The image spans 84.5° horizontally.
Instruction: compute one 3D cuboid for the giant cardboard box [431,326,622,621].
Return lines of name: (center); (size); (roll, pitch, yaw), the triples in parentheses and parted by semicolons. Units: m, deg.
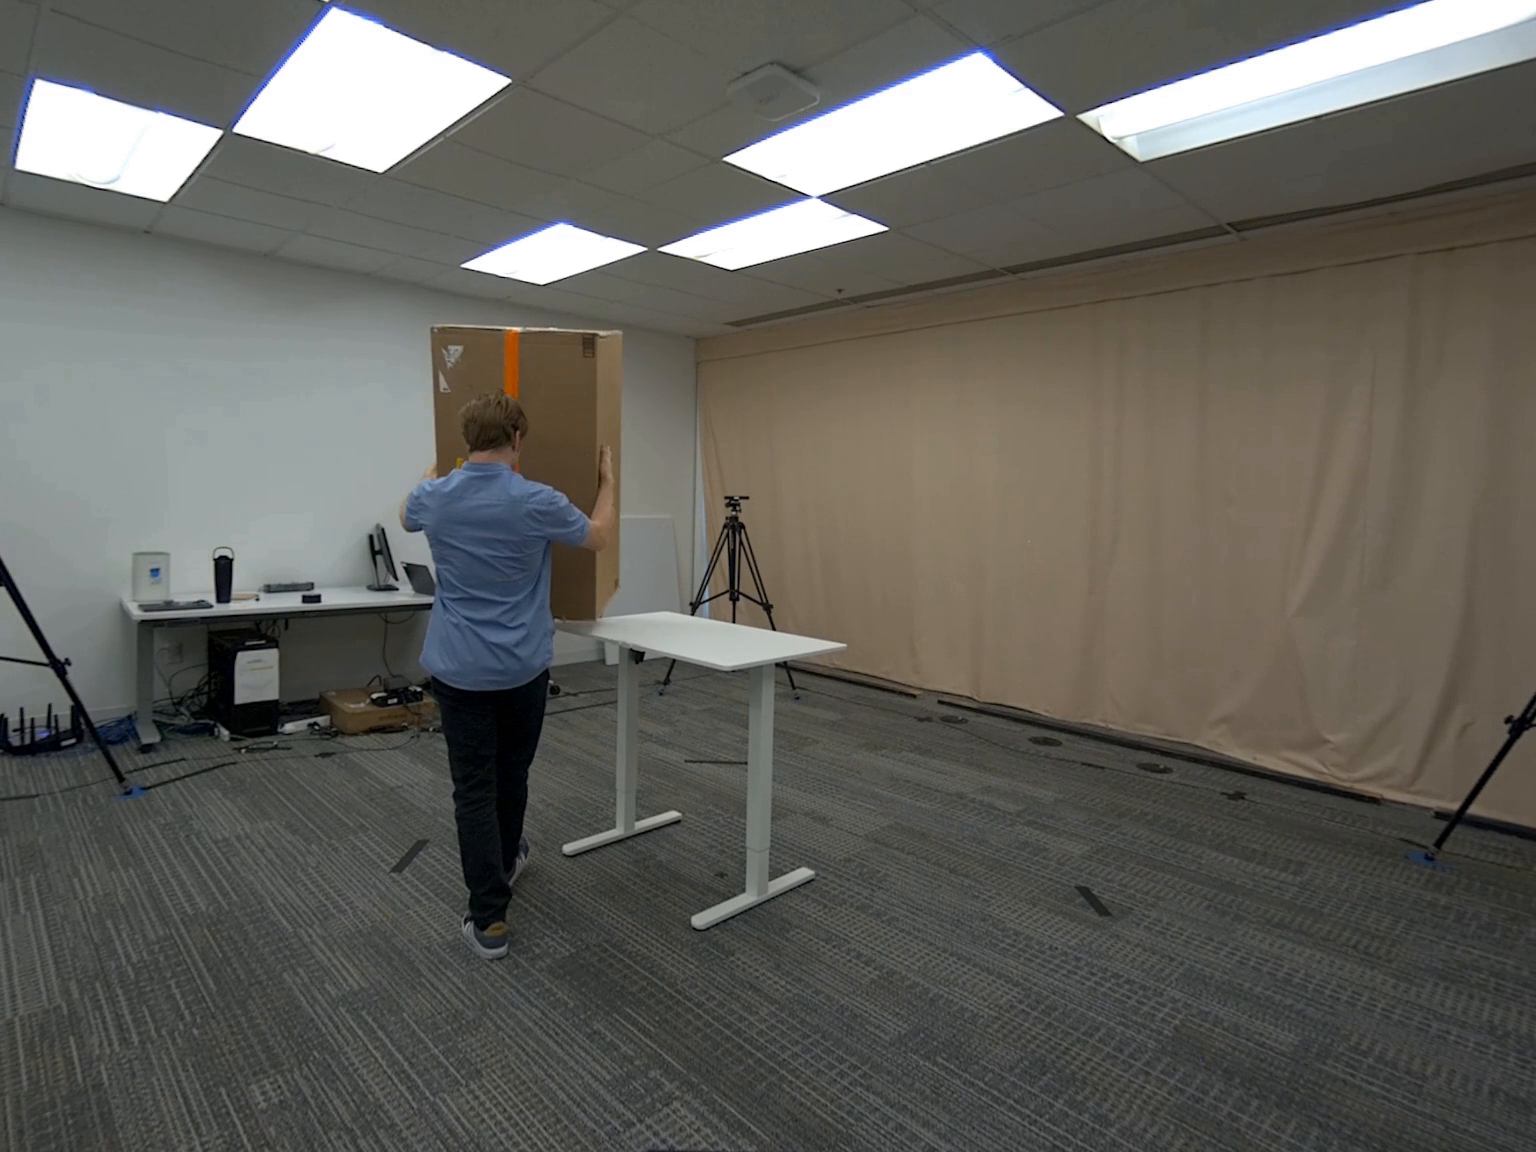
giant cardboard box: (-0.877, -0.399, 3.136); (0.580, 1.015, 0.429); (4, 15, 4)
